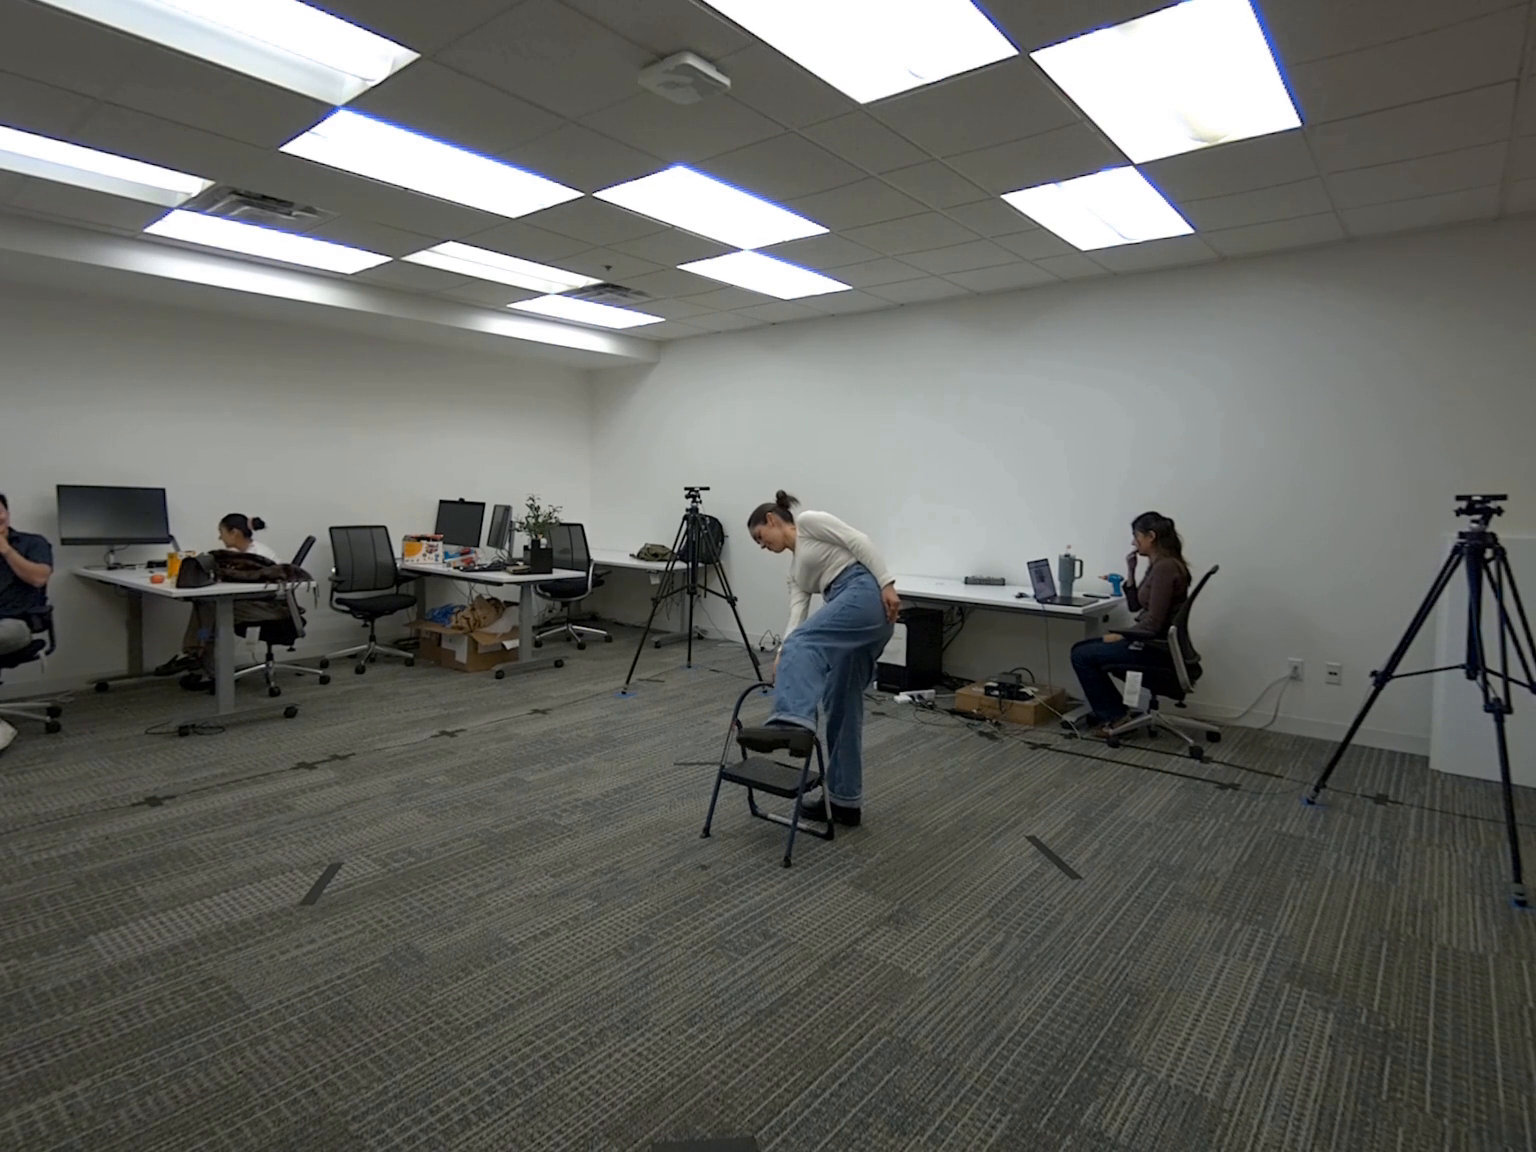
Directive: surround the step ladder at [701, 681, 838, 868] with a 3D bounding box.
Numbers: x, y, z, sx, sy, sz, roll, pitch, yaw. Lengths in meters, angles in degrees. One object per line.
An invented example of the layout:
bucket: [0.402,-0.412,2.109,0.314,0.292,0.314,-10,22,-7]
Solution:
step ladder: [0.001,0.741,3.376,0.445,0.604,0.339,4,4,38]
